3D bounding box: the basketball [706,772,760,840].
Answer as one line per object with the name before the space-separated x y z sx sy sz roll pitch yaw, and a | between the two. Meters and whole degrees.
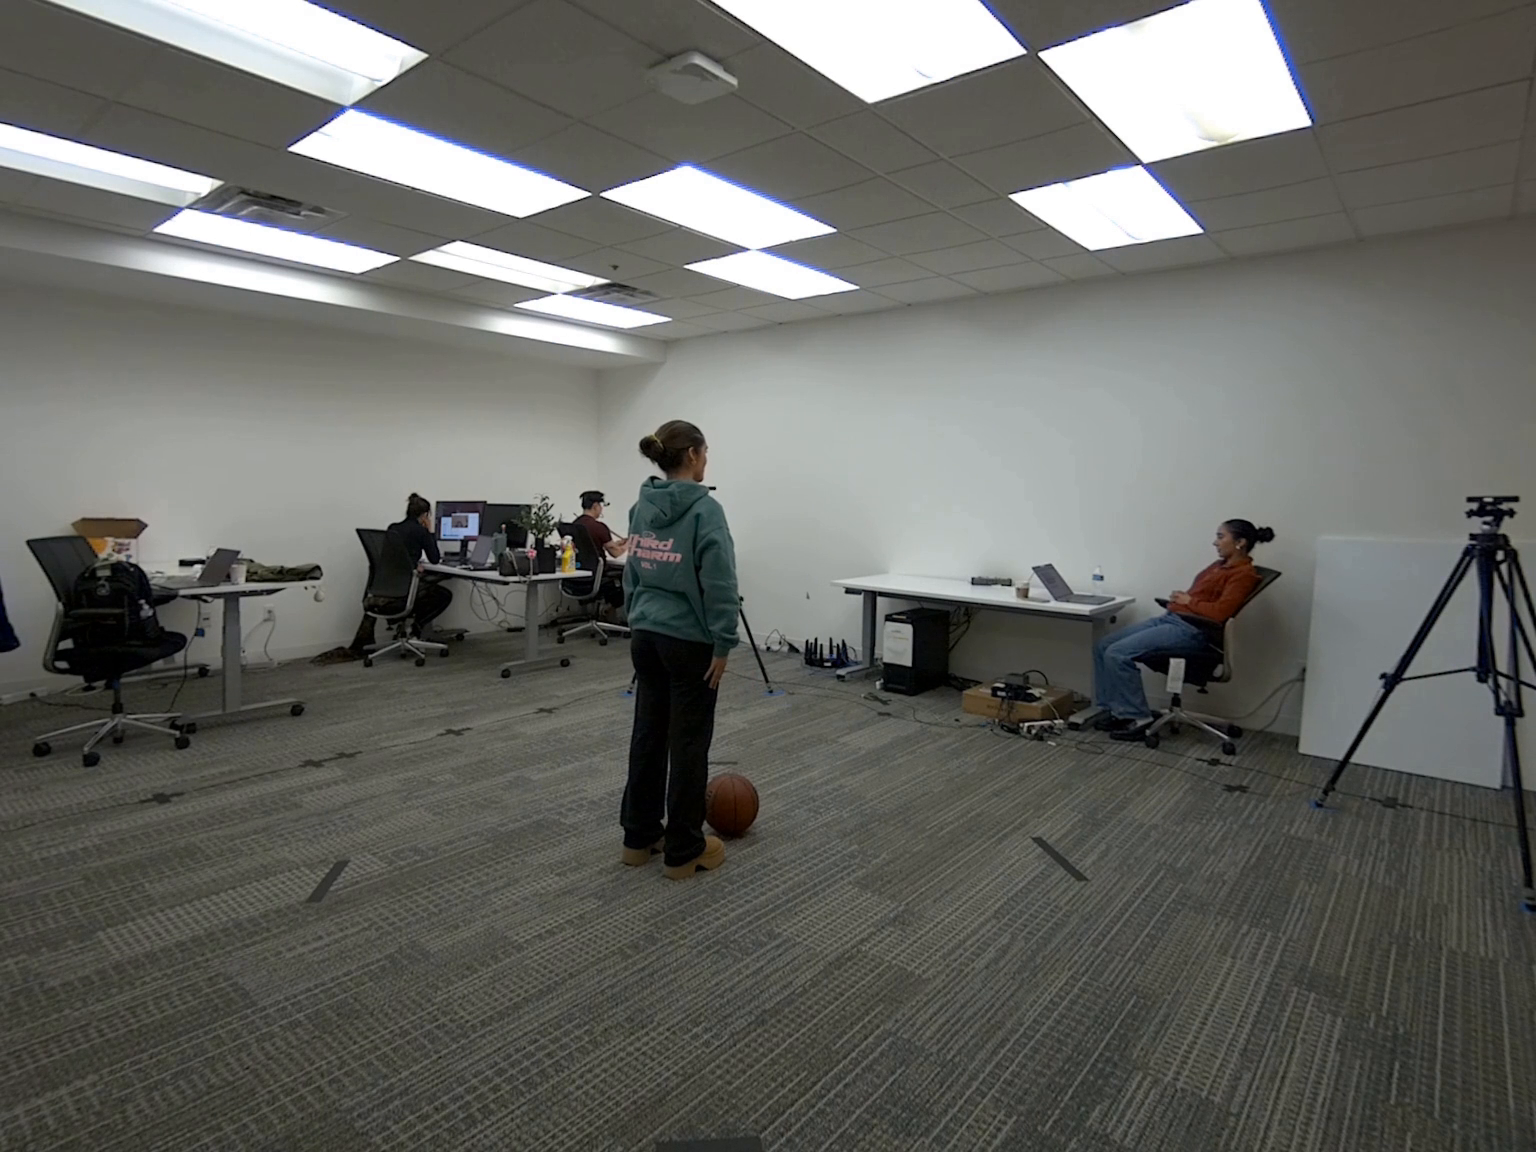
basketball | -0.163 0.915 3.438 0.235 0.235 0.237 1 4 -2
